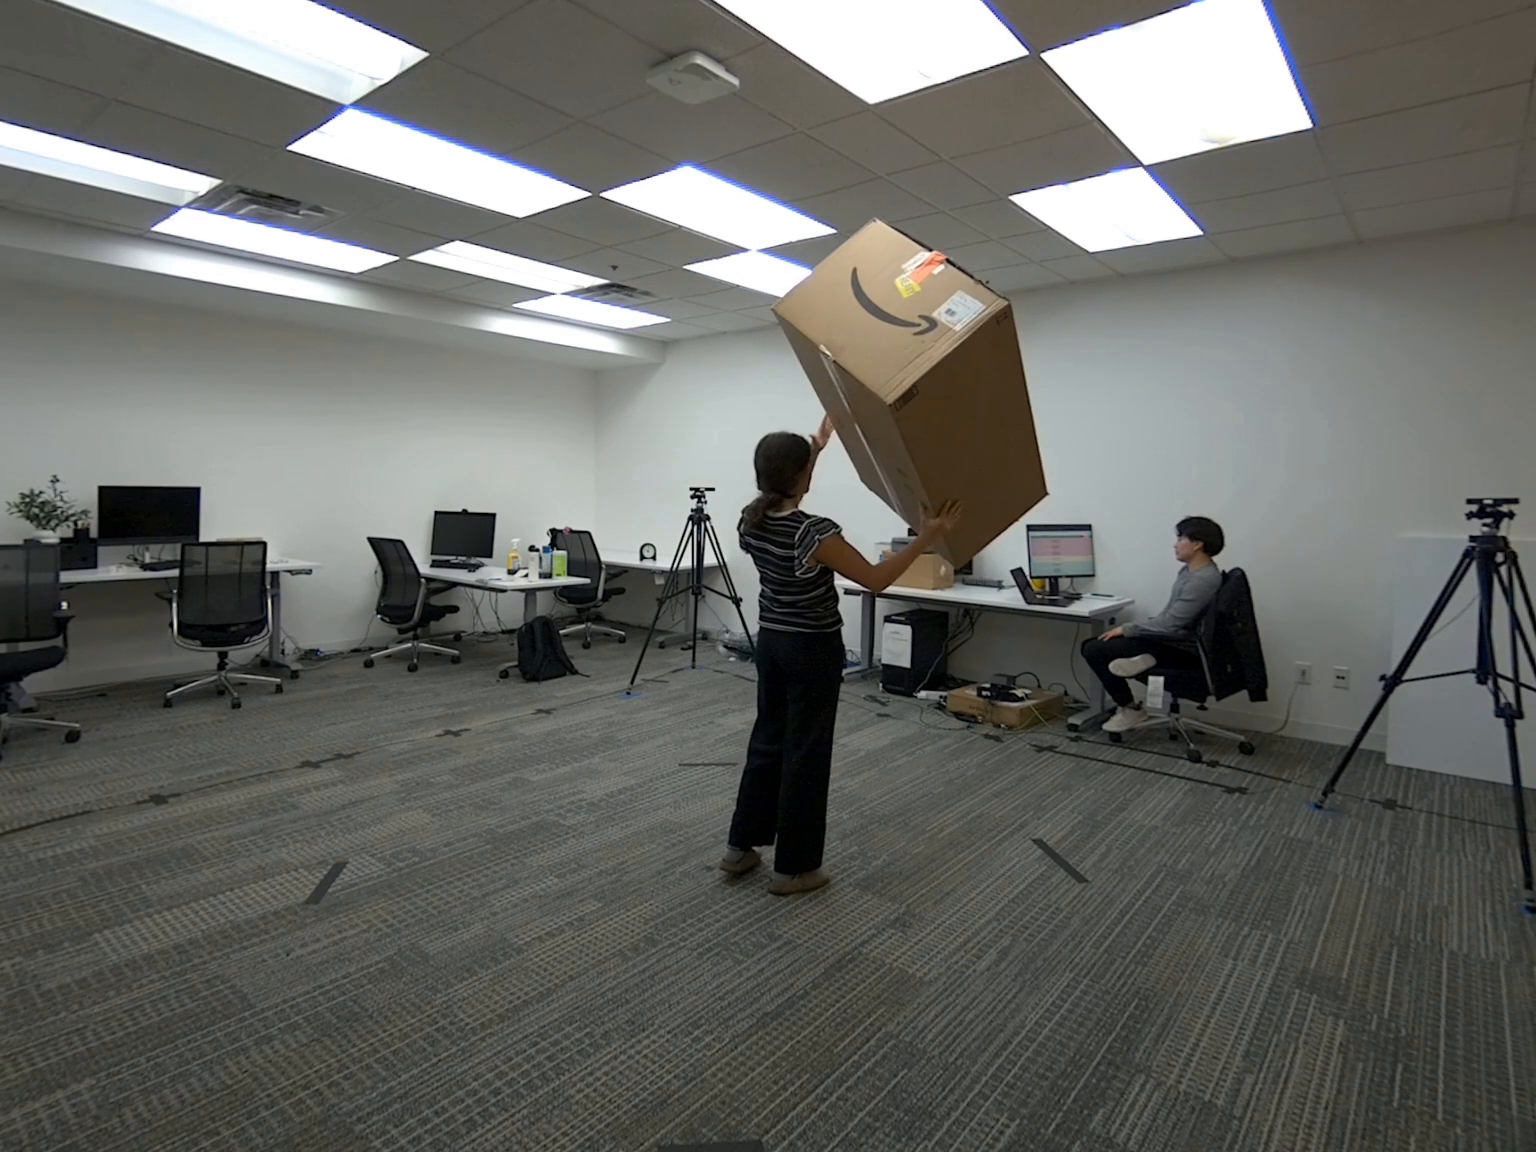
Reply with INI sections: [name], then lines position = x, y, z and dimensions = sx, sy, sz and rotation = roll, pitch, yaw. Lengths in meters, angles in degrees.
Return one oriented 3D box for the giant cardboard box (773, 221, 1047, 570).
[giant cardboard box]
position = 0.486, -0.556, 2.802
dimensions = 0.601, 0.426, 0.985
rotation = 49, 0, 35
